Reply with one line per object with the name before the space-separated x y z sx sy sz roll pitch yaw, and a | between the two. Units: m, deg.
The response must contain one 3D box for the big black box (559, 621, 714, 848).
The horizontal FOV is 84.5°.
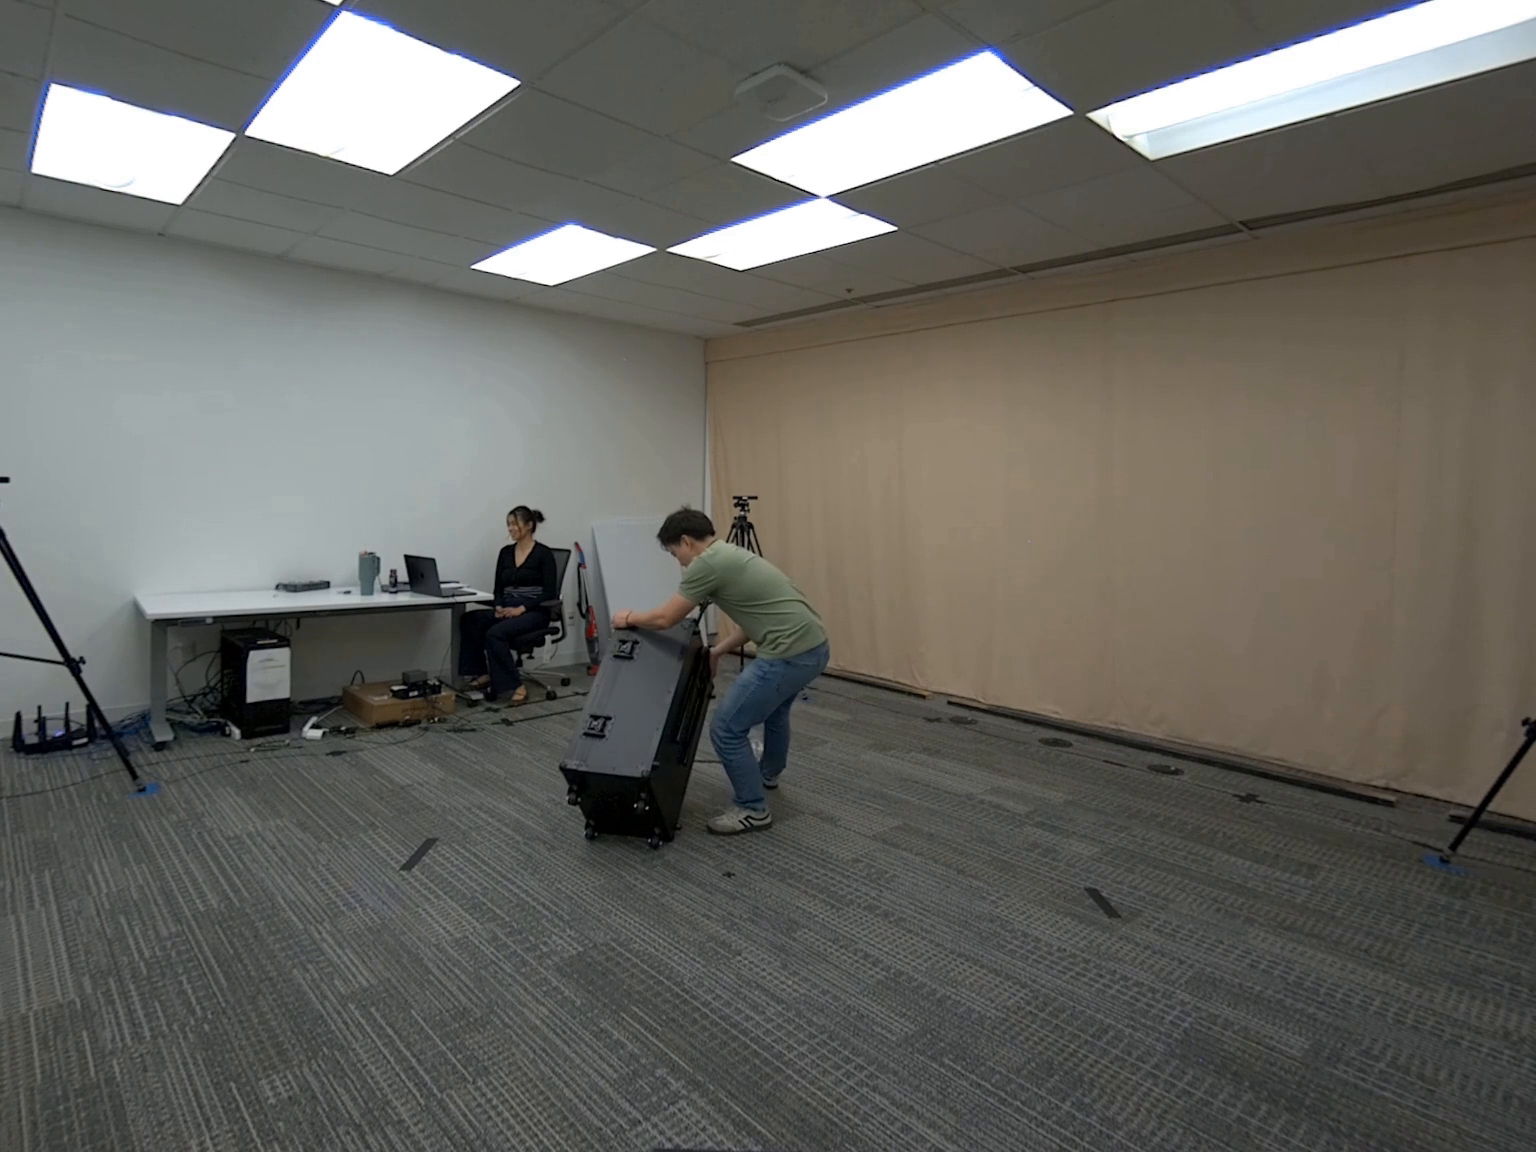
big black box | -0.518 0.610 3.551 0.400 0.508 0.875 1 45 11
